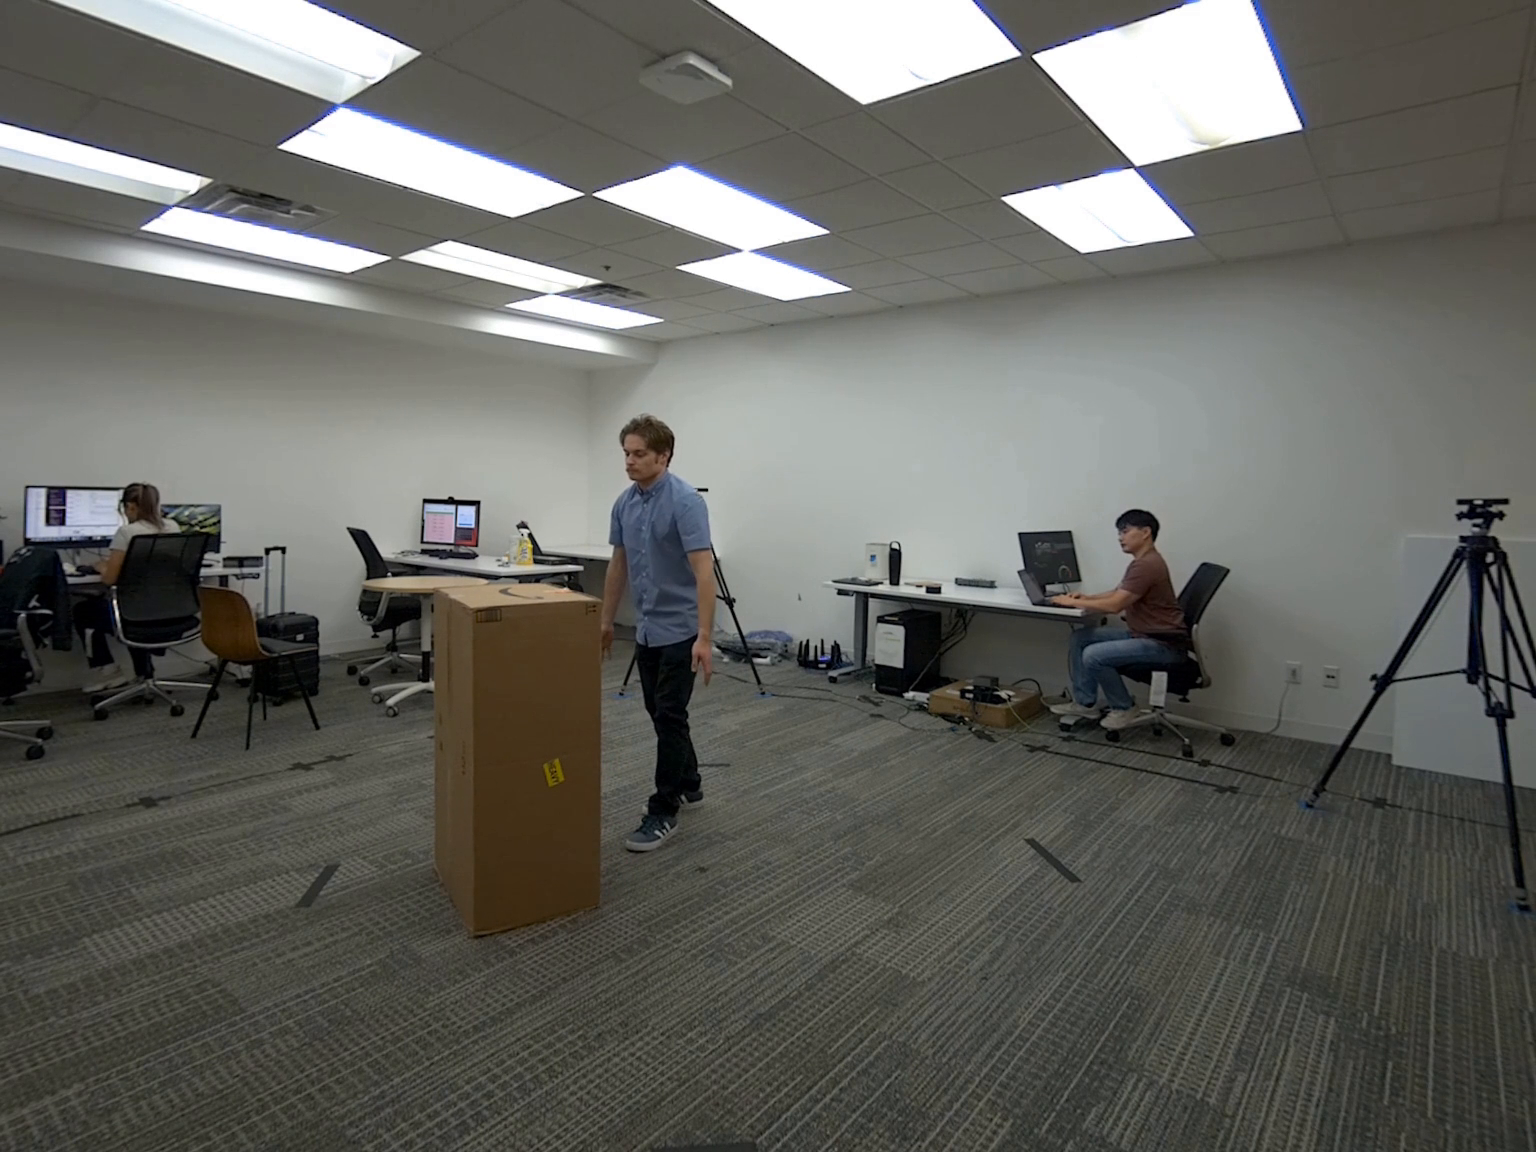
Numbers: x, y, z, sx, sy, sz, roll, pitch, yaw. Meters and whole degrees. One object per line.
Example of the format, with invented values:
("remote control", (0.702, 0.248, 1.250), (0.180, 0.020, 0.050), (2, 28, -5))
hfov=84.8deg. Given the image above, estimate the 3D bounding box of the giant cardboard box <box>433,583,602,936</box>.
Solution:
("giant cardboard box", (-0.886, 0.567, 2.928), (0.414, 1.023, 0.595), (-1, 4, -32))
